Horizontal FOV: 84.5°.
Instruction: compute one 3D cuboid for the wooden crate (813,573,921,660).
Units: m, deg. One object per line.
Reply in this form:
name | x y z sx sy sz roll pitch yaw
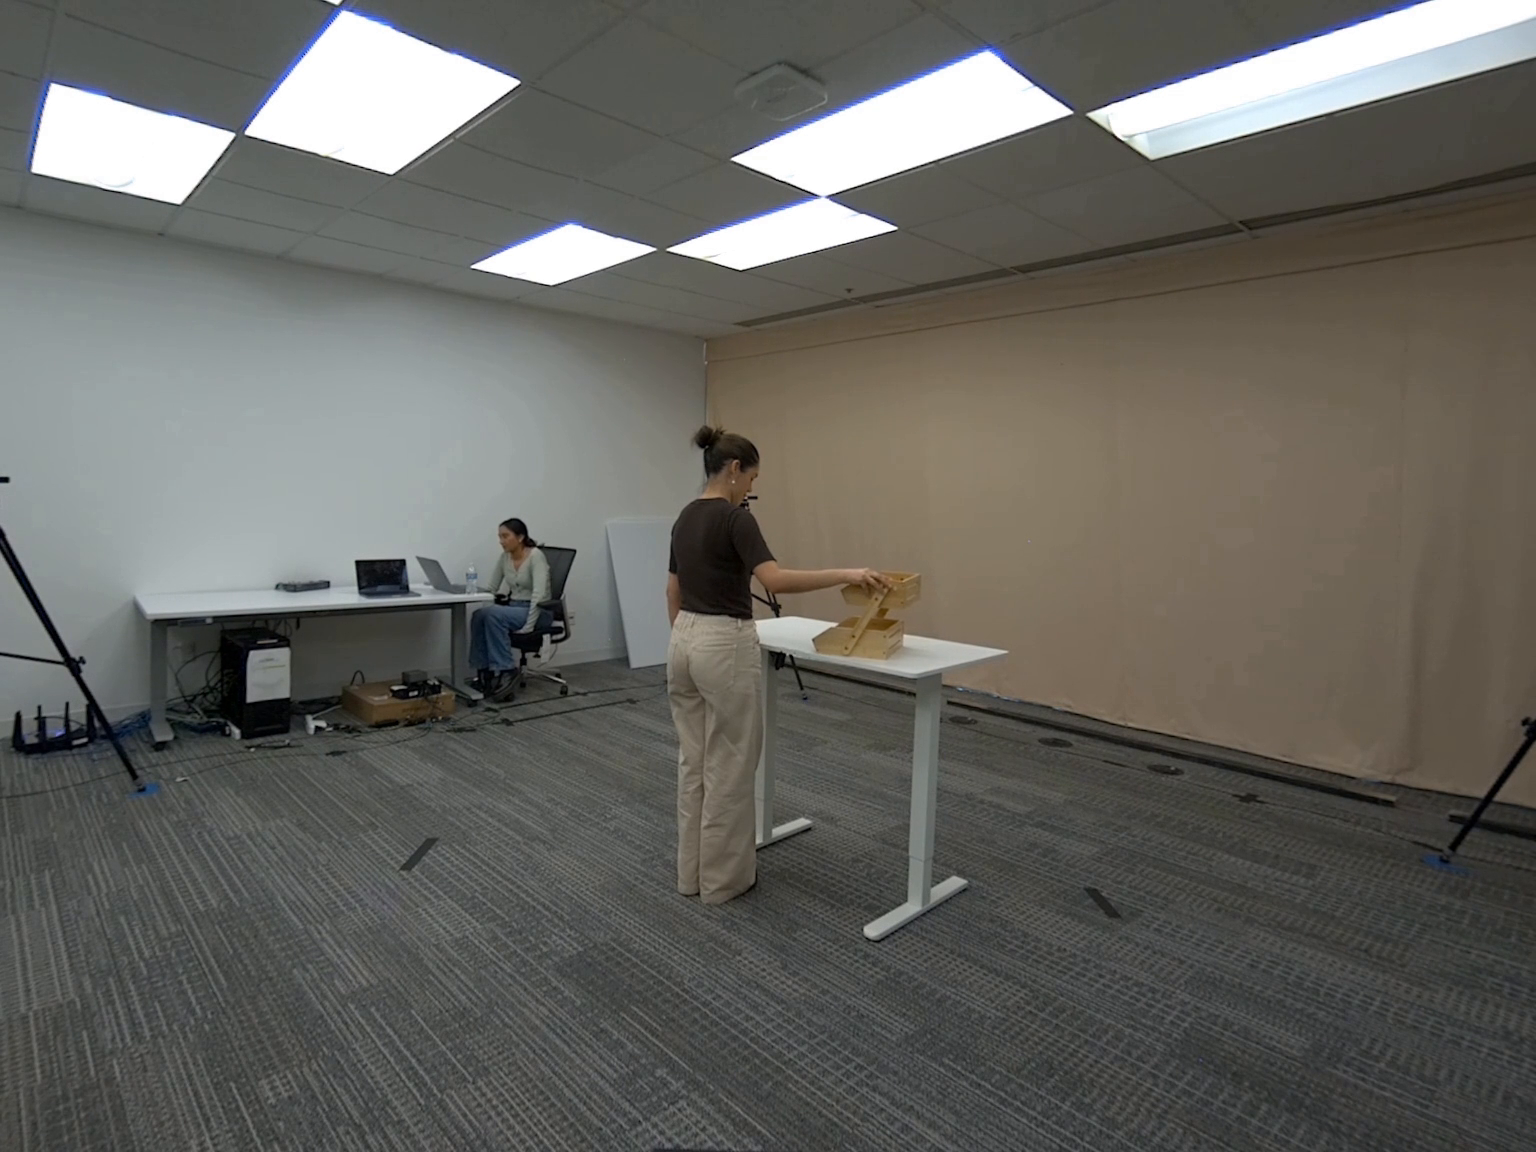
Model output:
wooden crate | 0.333 0.122 2.872 0.307 0.272 0.320 4 5 20
